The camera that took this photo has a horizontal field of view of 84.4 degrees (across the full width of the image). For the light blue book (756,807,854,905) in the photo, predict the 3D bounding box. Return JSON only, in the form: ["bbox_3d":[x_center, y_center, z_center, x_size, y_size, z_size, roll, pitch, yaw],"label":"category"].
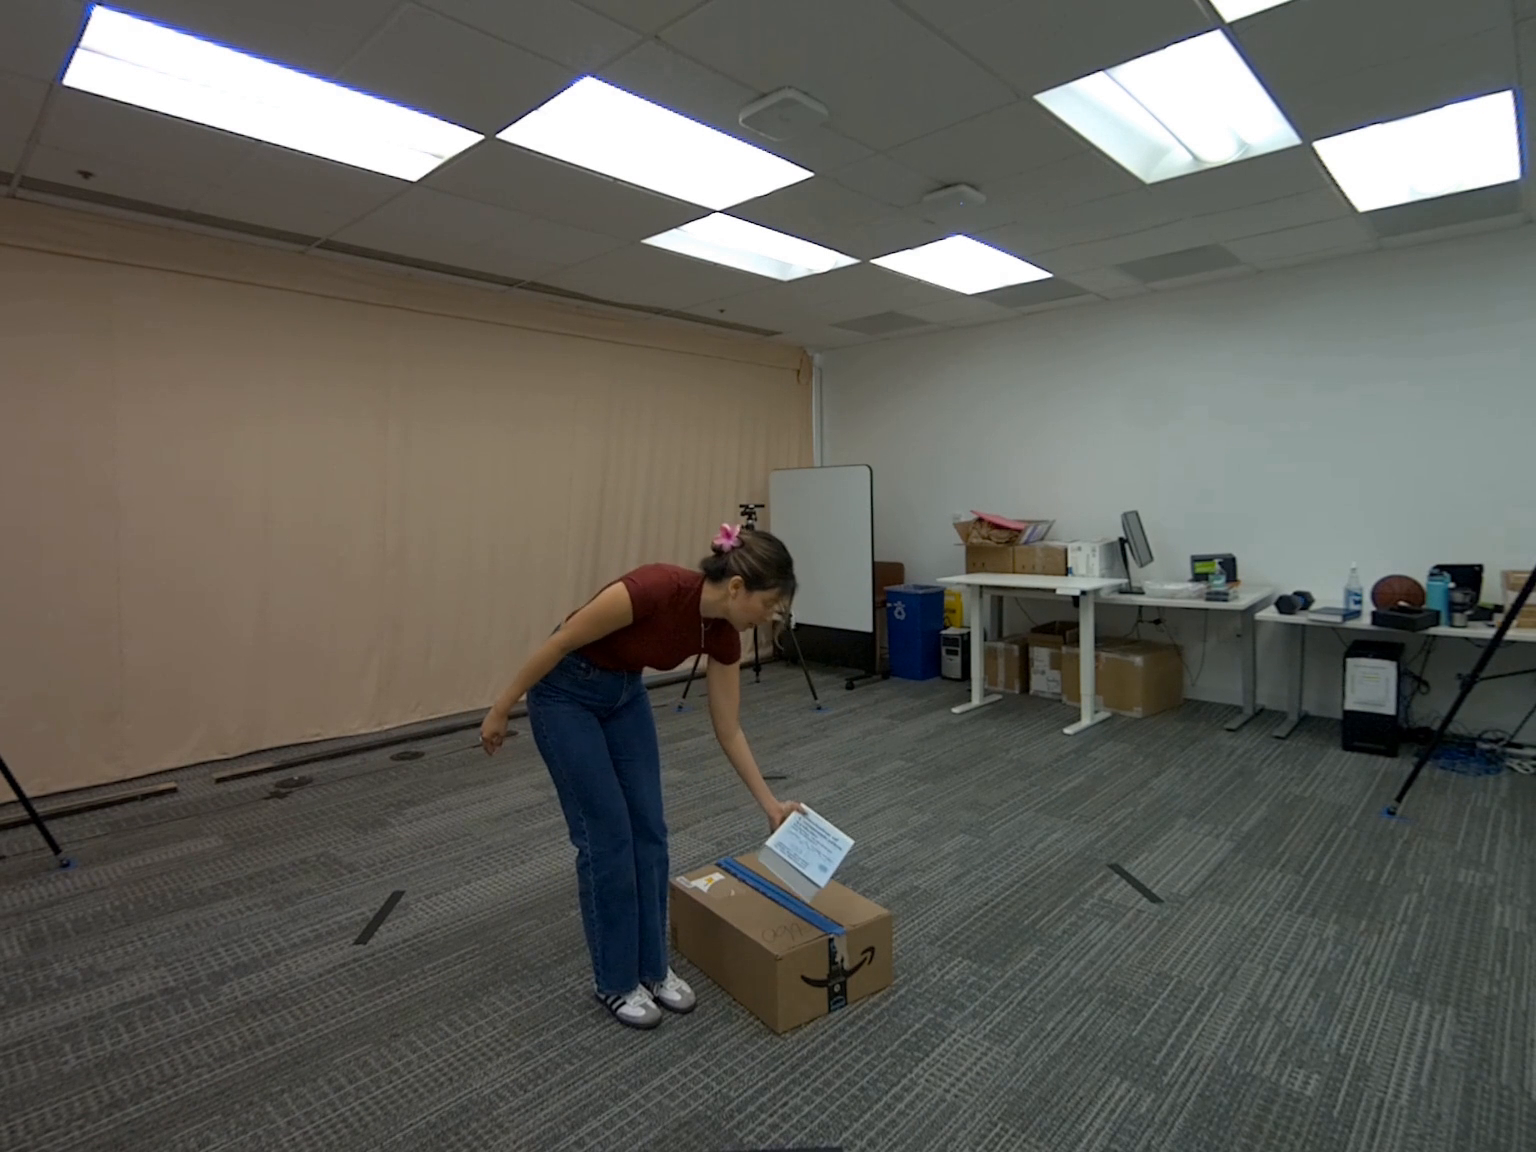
[{"bbox_3d":[0.127,0.762,2.348,0.195,0.059,0.257,32,22,13],"label":"light blue book"}]
